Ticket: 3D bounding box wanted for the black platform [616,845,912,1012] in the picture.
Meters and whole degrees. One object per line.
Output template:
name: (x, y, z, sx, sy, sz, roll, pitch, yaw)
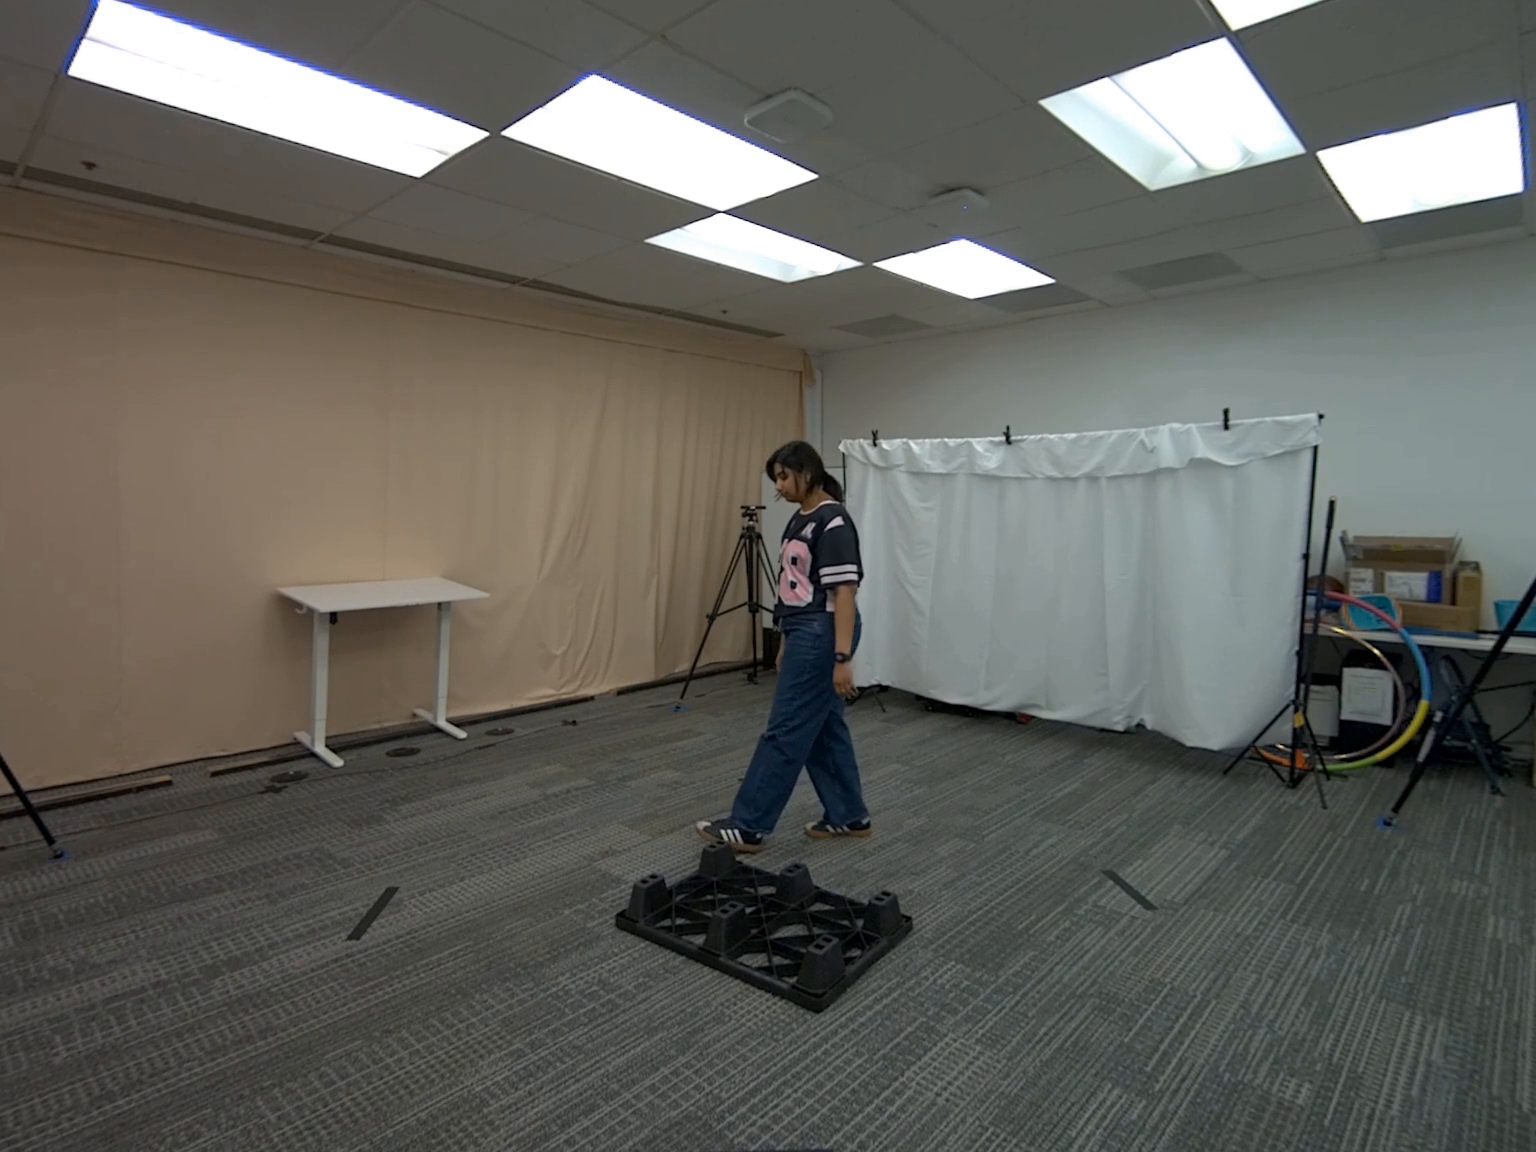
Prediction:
black platform: (-0.023, 1.096, 2.773, 0.831, 0.143, 0.587, 3, 6, 37)
